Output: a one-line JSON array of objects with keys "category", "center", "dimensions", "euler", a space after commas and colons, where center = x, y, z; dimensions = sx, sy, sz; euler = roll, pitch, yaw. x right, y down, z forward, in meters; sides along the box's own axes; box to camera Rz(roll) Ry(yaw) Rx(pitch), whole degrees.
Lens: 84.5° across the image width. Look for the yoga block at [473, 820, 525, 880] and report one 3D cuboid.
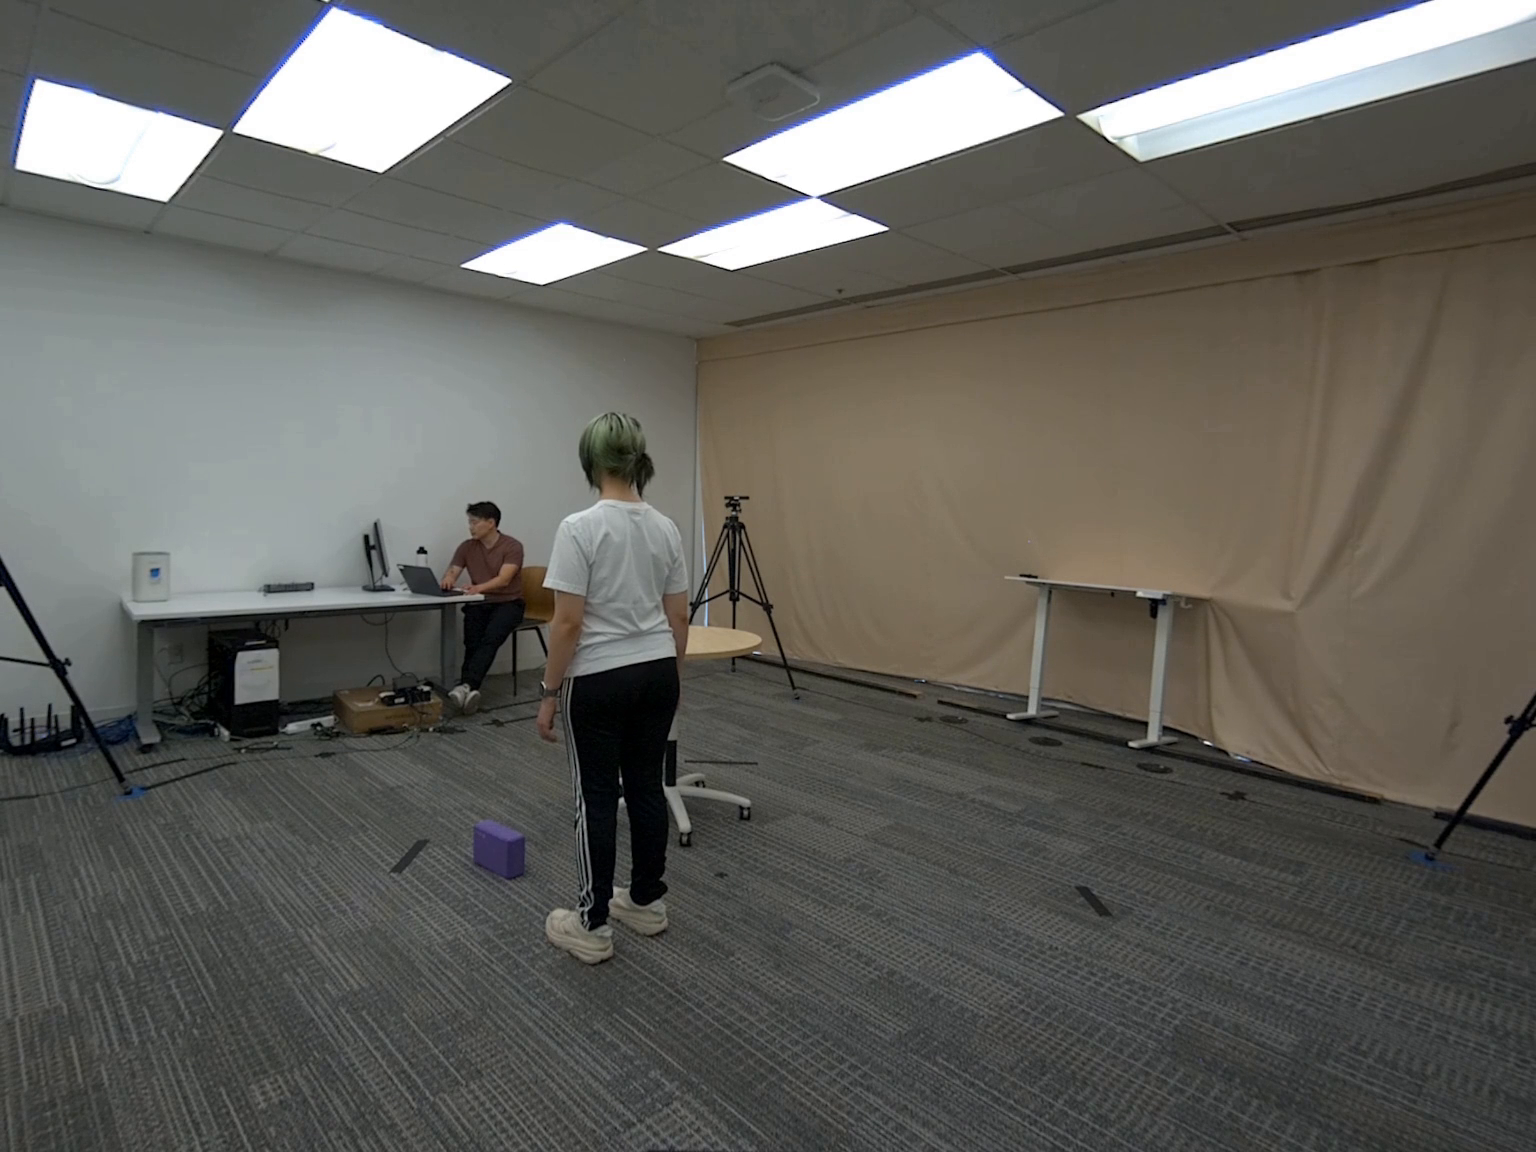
[{"category": "yoga block", "center": [-1.007, 1.010, 3.110], "dimensions": [0.235, 0.149, 0.075], "euler": [4, 4, 39]}]
